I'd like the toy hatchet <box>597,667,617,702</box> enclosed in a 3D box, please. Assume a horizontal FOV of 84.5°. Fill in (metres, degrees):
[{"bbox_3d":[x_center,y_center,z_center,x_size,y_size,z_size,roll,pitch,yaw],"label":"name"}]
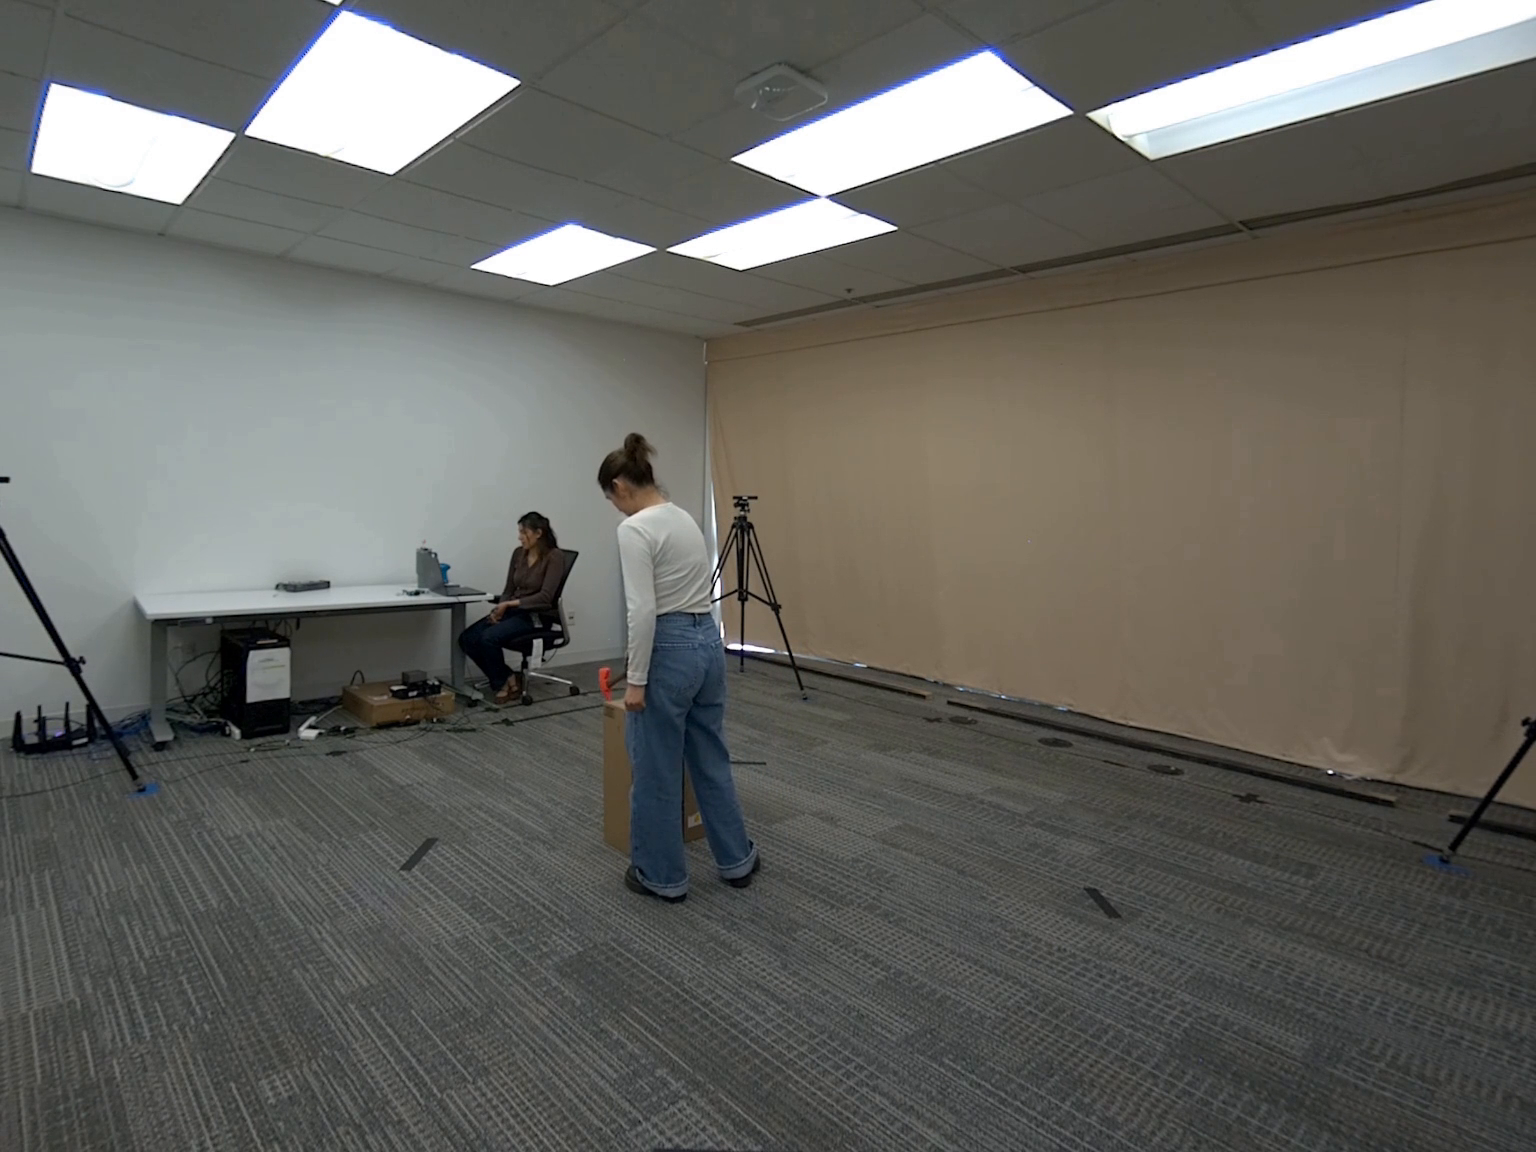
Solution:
[{"bbox_3d":[-0.605,0.370,3.314,0.029,0.134,0.269,-1,-40,-44],"label":"toy hatchet"}]
